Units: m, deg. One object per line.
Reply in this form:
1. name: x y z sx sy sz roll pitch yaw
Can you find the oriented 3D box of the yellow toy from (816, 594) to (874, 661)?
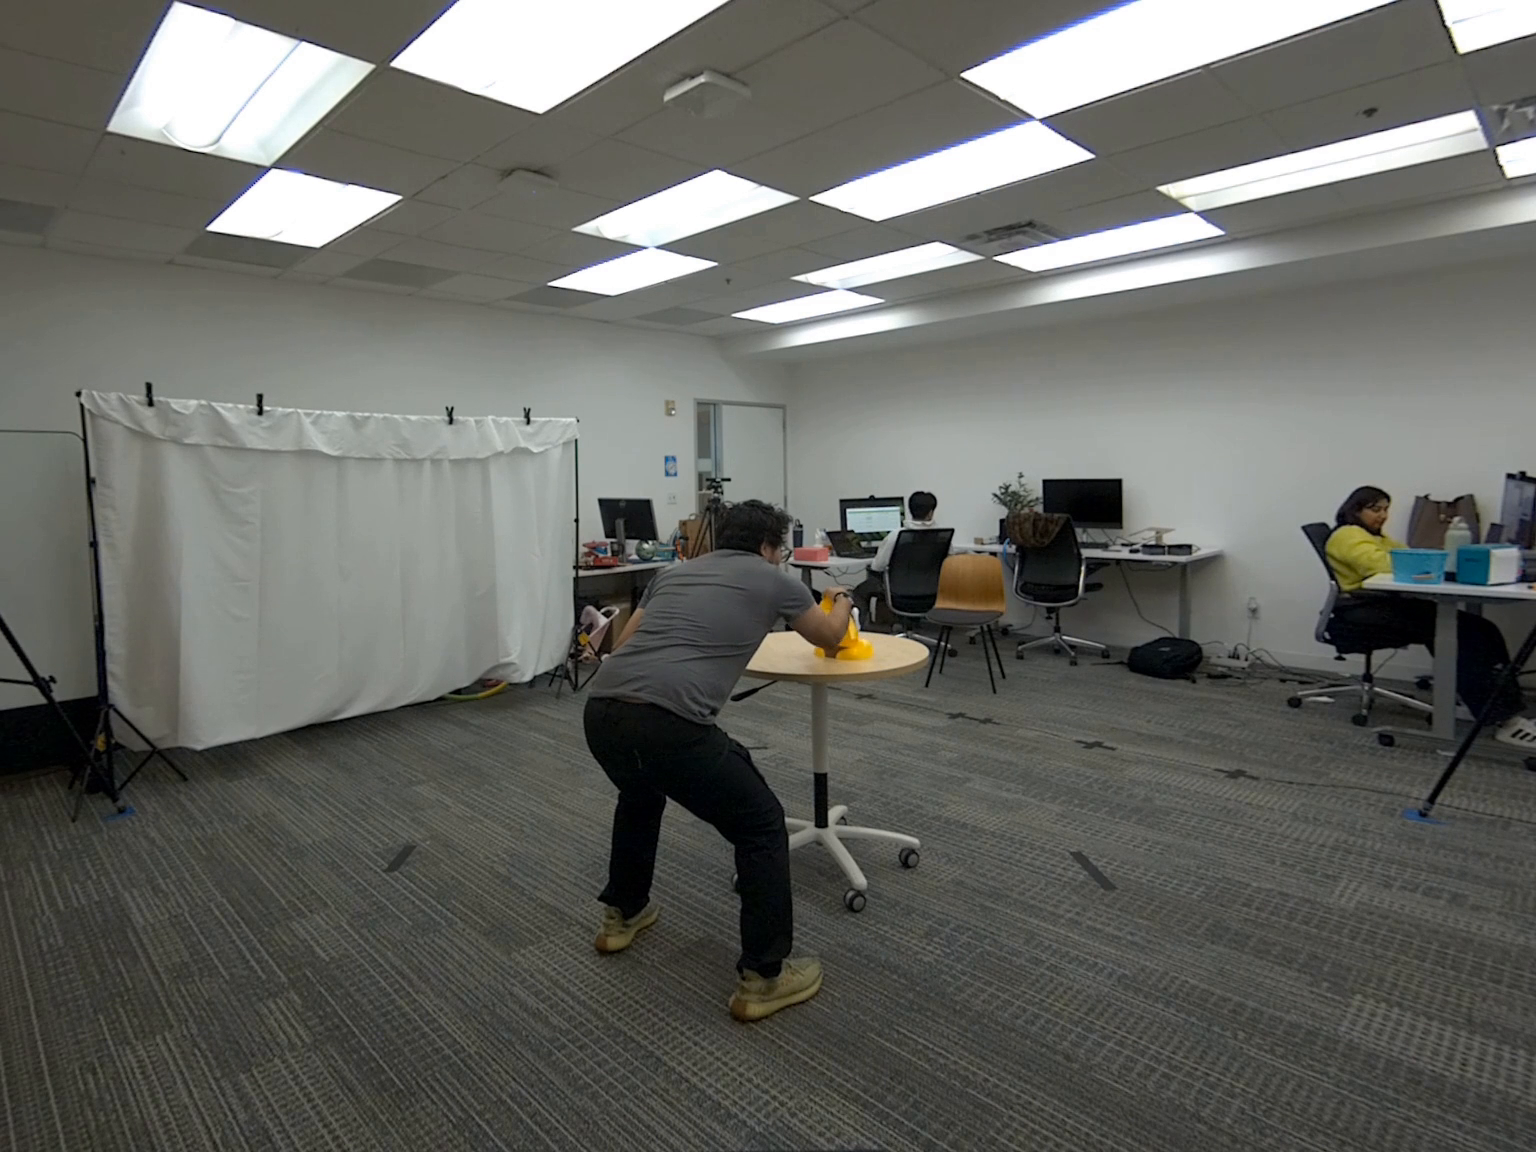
1. yellow toy: 0.255 0.158 2.947 0.211 0.230 0.188 3 6 41
